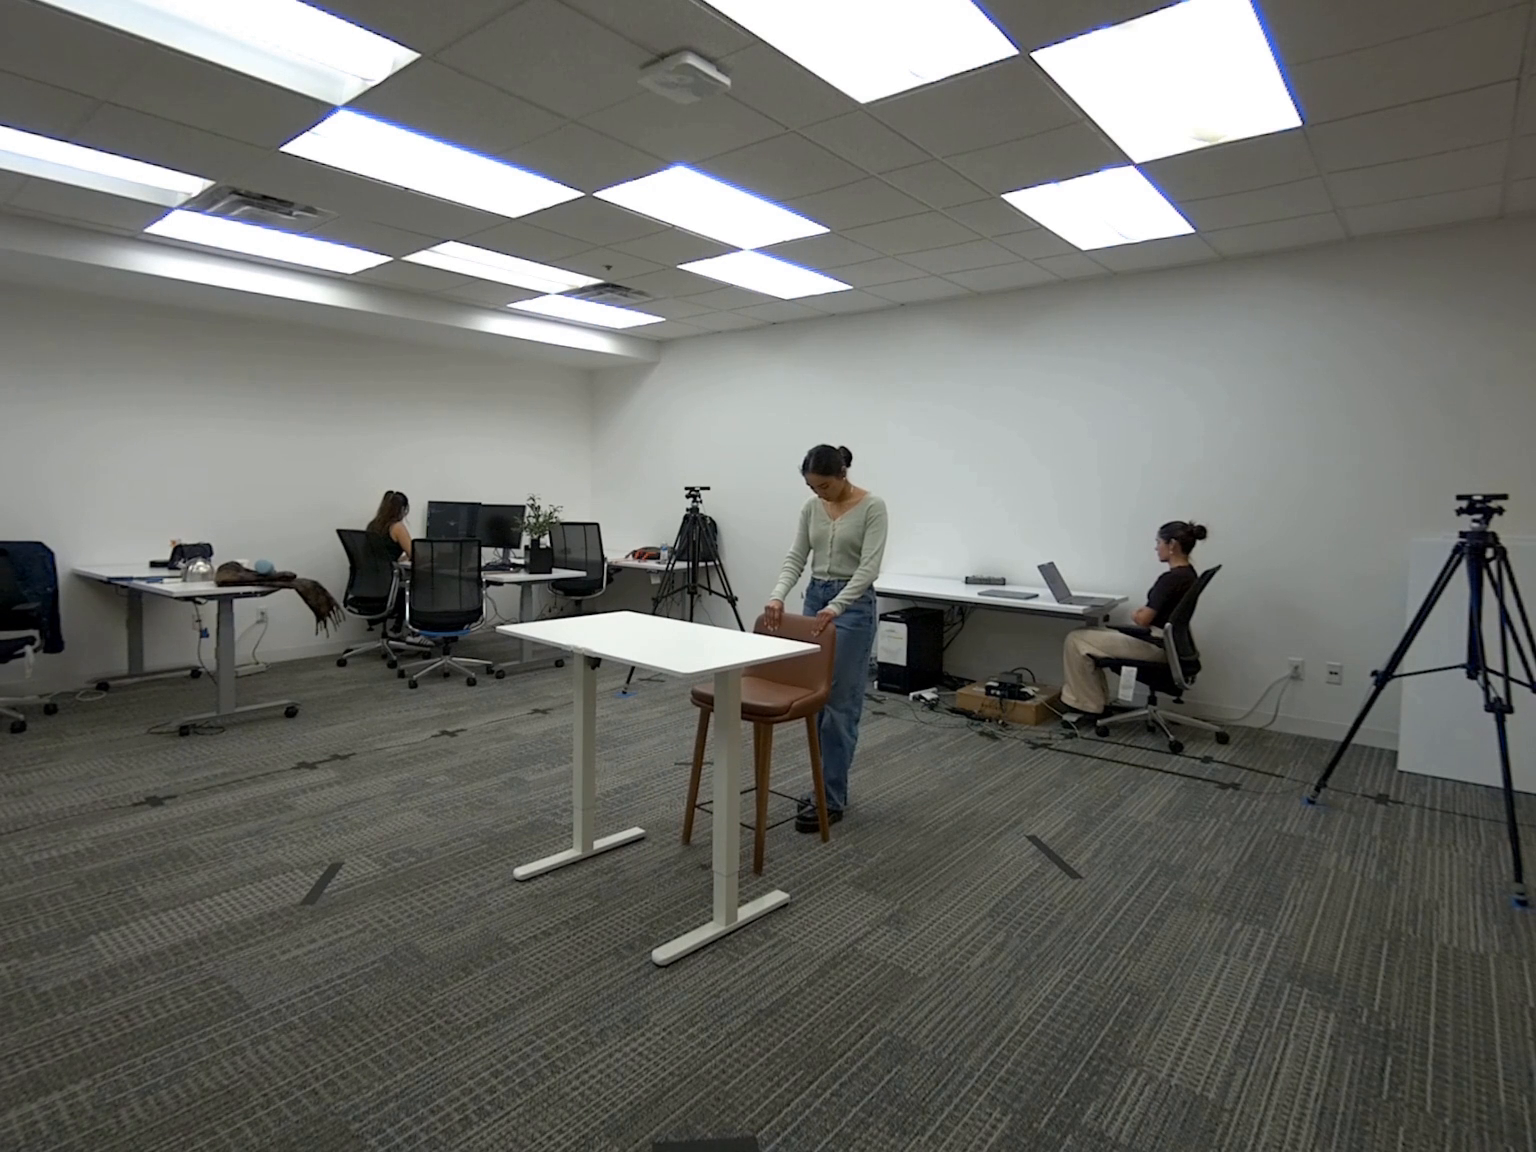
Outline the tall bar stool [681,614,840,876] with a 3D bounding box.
[{"bbox_3d":[-0.034,0.603,3.330,0.472,0.888,0.453,4,2,42],"label":"tall bar stool"}]
